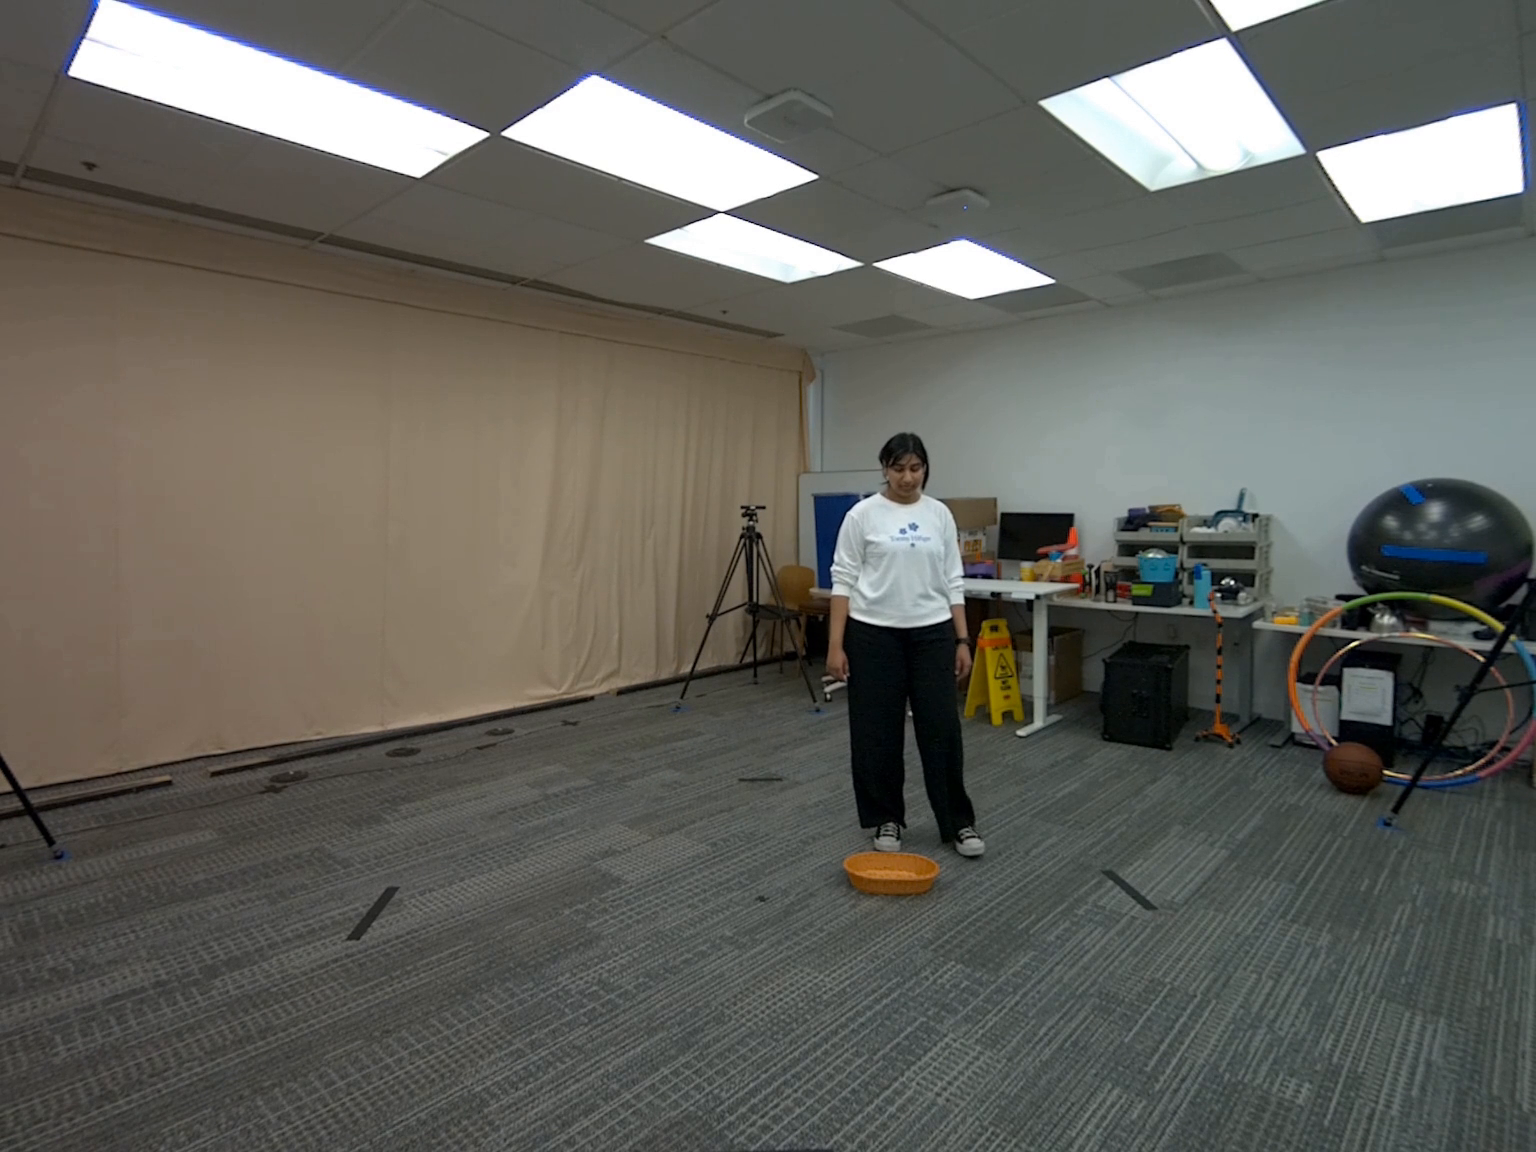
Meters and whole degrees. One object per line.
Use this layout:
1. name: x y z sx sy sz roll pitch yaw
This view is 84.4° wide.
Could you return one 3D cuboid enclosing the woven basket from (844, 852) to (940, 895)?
1. woven basket: 0.454 1.092 3.102 0.353 0.073 0.251 0 3 5
